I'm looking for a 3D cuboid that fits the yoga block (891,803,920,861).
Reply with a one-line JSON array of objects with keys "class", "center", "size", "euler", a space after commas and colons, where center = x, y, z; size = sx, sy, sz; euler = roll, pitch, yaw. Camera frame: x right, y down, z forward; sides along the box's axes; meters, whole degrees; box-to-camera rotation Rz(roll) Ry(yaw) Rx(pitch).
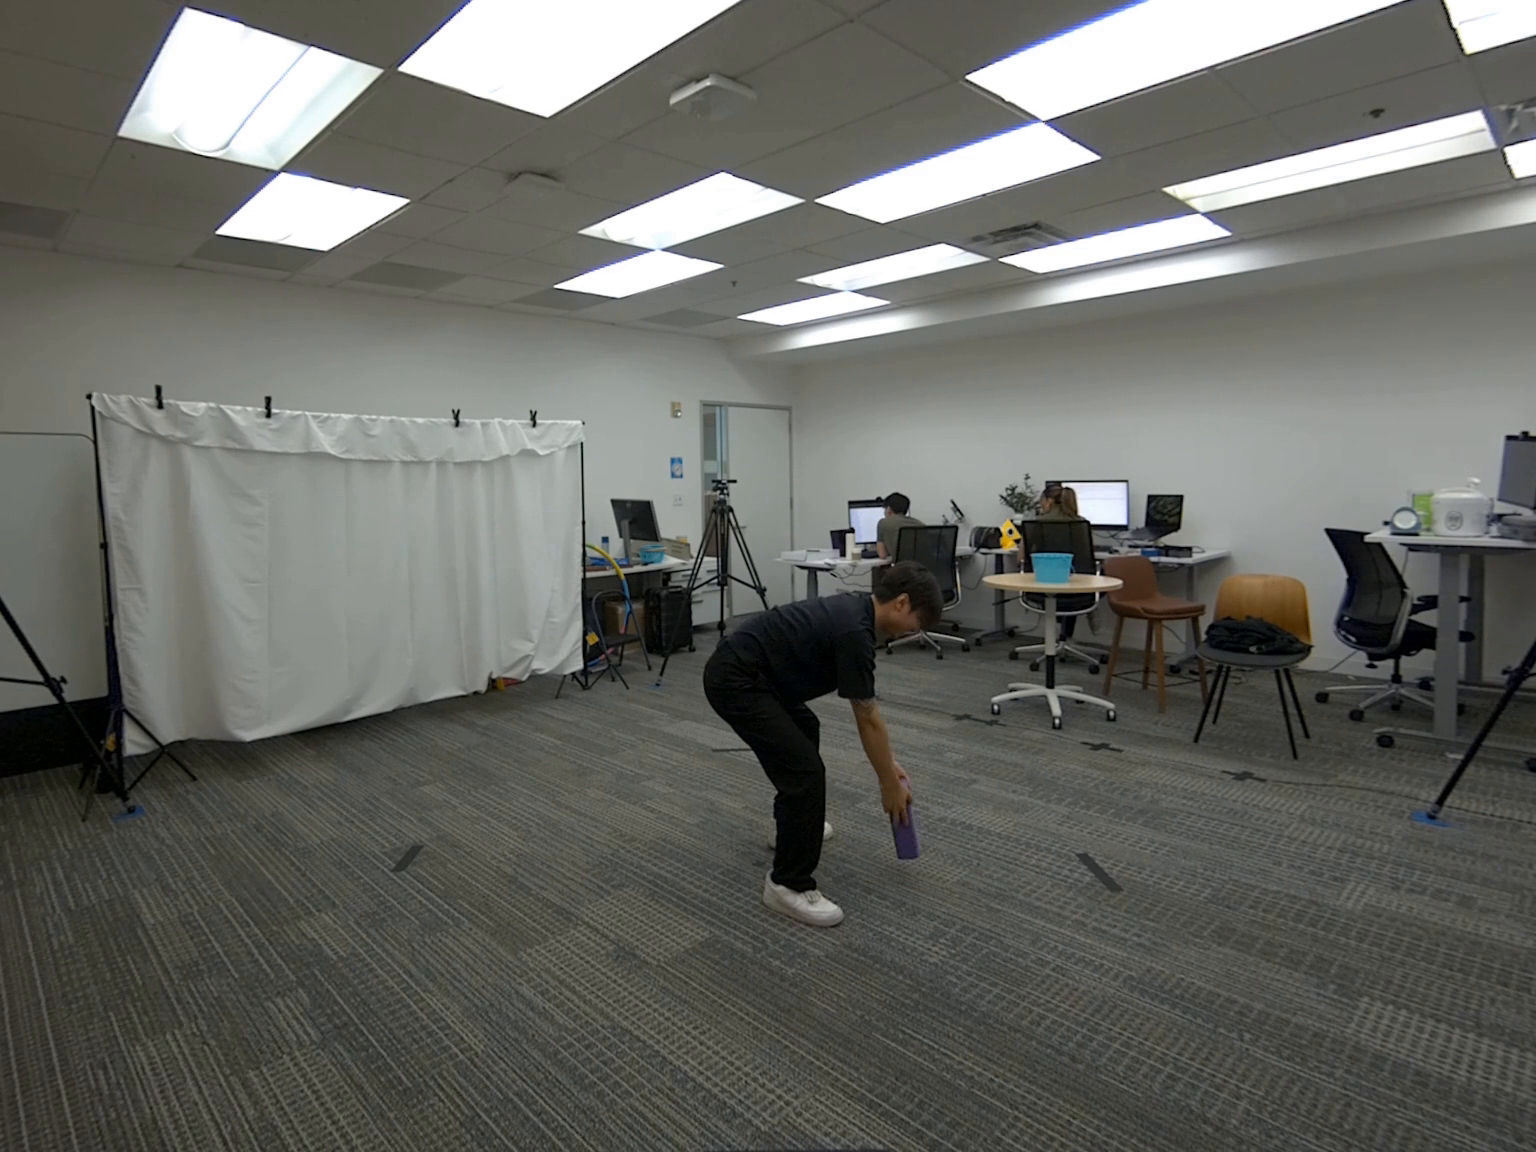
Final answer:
[{"class": "yoga block", "center": [0.481, 0.845, 2.973], "size": [0.077, 0.228, 0.148], "euler": [-7, 4, 8]}]
